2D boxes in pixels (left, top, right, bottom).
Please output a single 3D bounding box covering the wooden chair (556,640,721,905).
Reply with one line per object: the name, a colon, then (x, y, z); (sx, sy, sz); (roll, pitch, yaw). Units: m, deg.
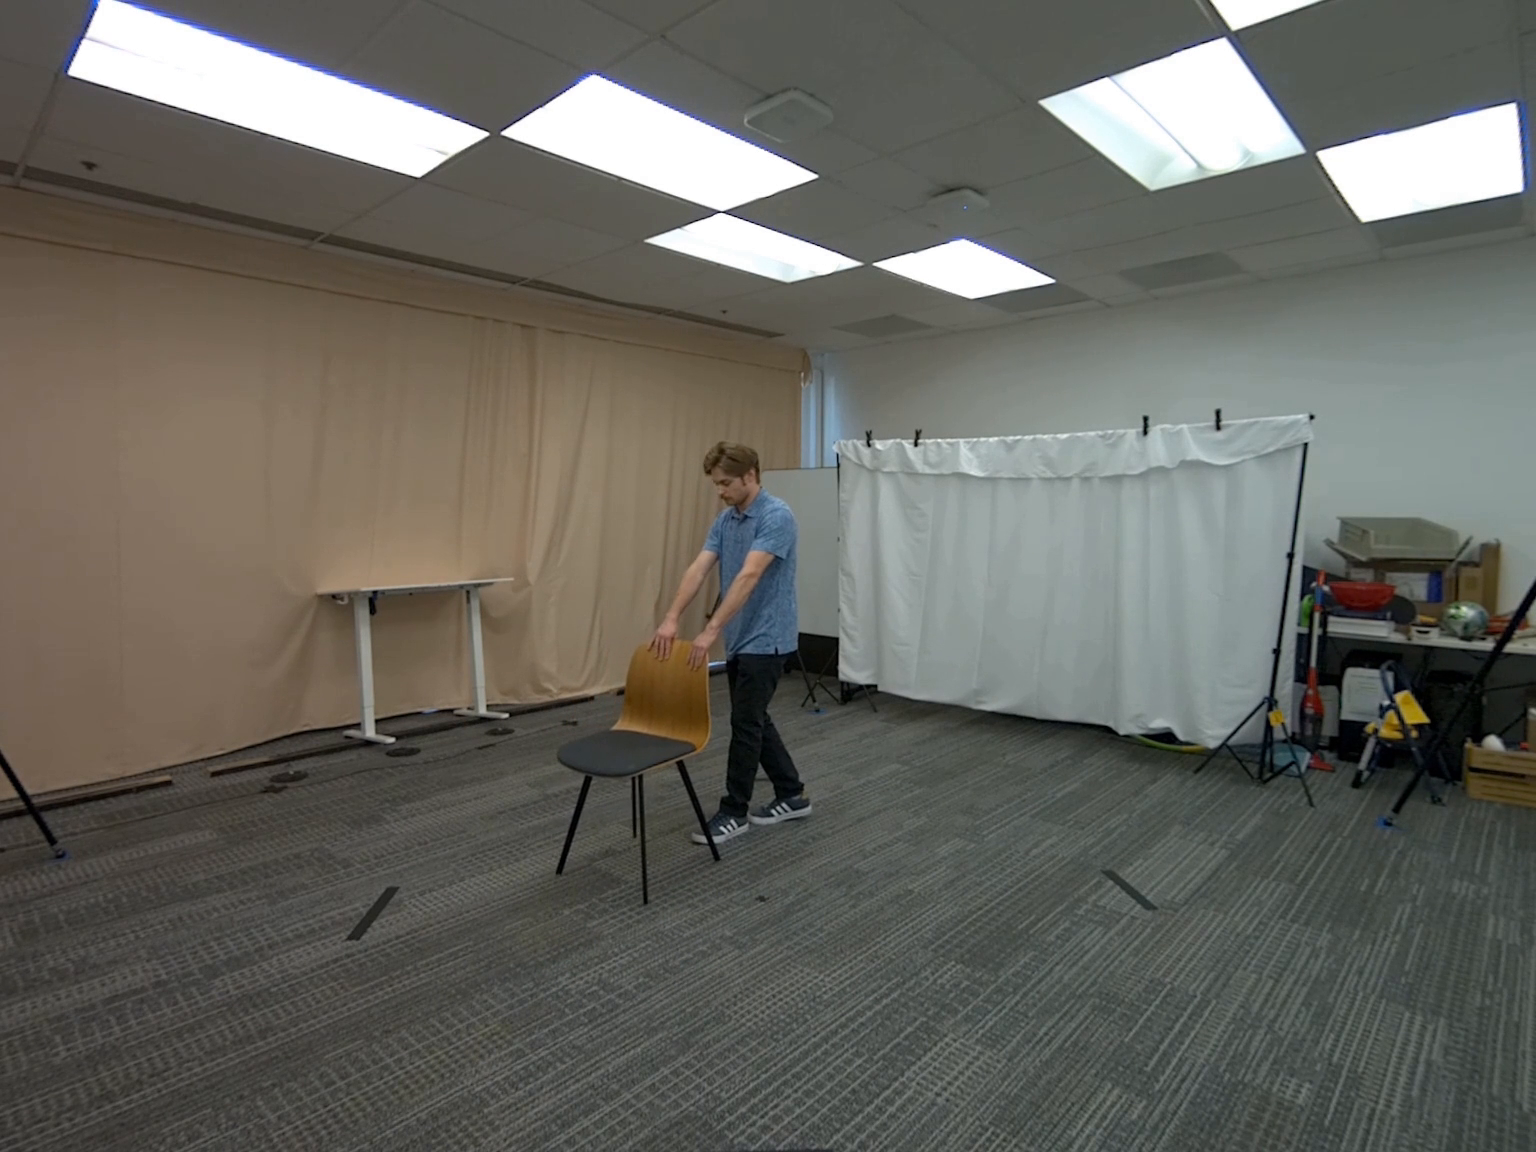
wooden chair: (-0.500, 0.699, 3.215); (0.493, 0.877, 0.507); (2, 0, 34)
